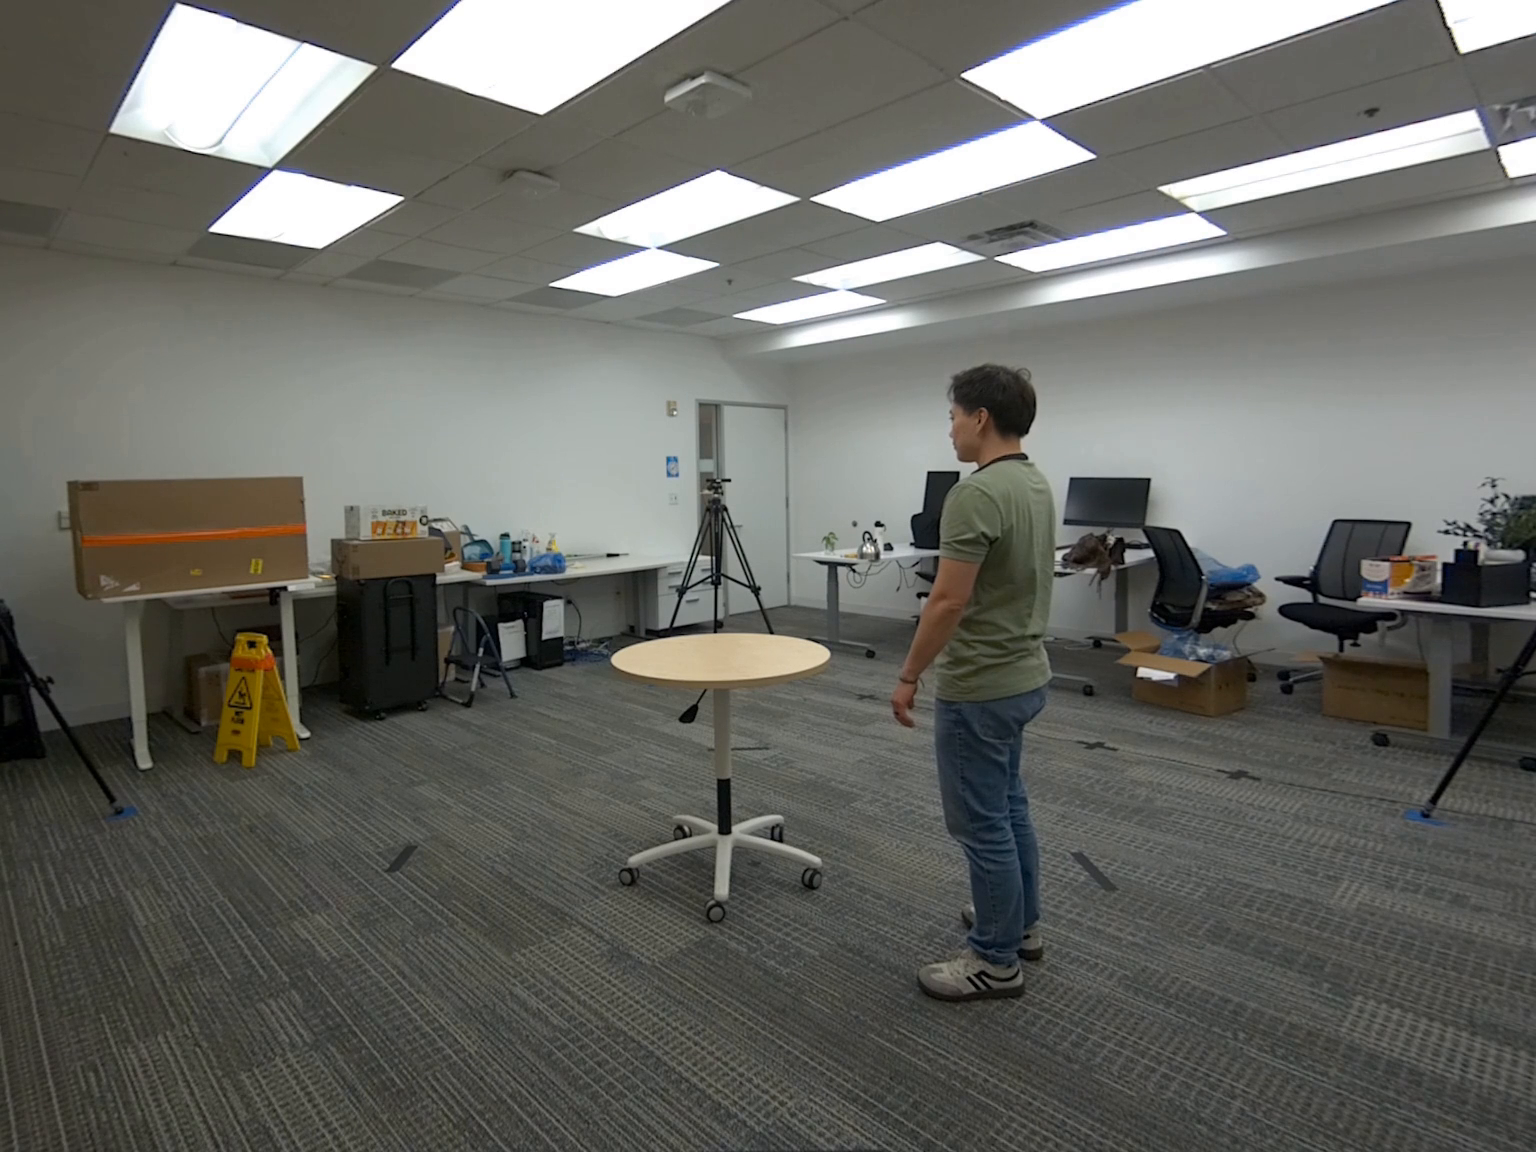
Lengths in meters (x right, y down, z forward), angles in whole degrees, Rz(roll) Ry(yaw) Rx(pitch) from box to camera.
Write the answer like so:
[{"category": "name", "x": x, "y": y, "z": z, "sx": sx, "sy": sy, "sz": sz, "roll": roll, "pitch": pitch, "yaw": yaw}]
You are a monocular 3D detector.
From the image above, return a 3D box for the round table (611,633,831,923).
[{"category": "round table", "x": -0.156, "y": 0.667, "z": 3.028, "sx": 0.763, "sy": 0.790, "sz": 0.768, "roll": -1, "pitch": 5, "yaw": -2}]
